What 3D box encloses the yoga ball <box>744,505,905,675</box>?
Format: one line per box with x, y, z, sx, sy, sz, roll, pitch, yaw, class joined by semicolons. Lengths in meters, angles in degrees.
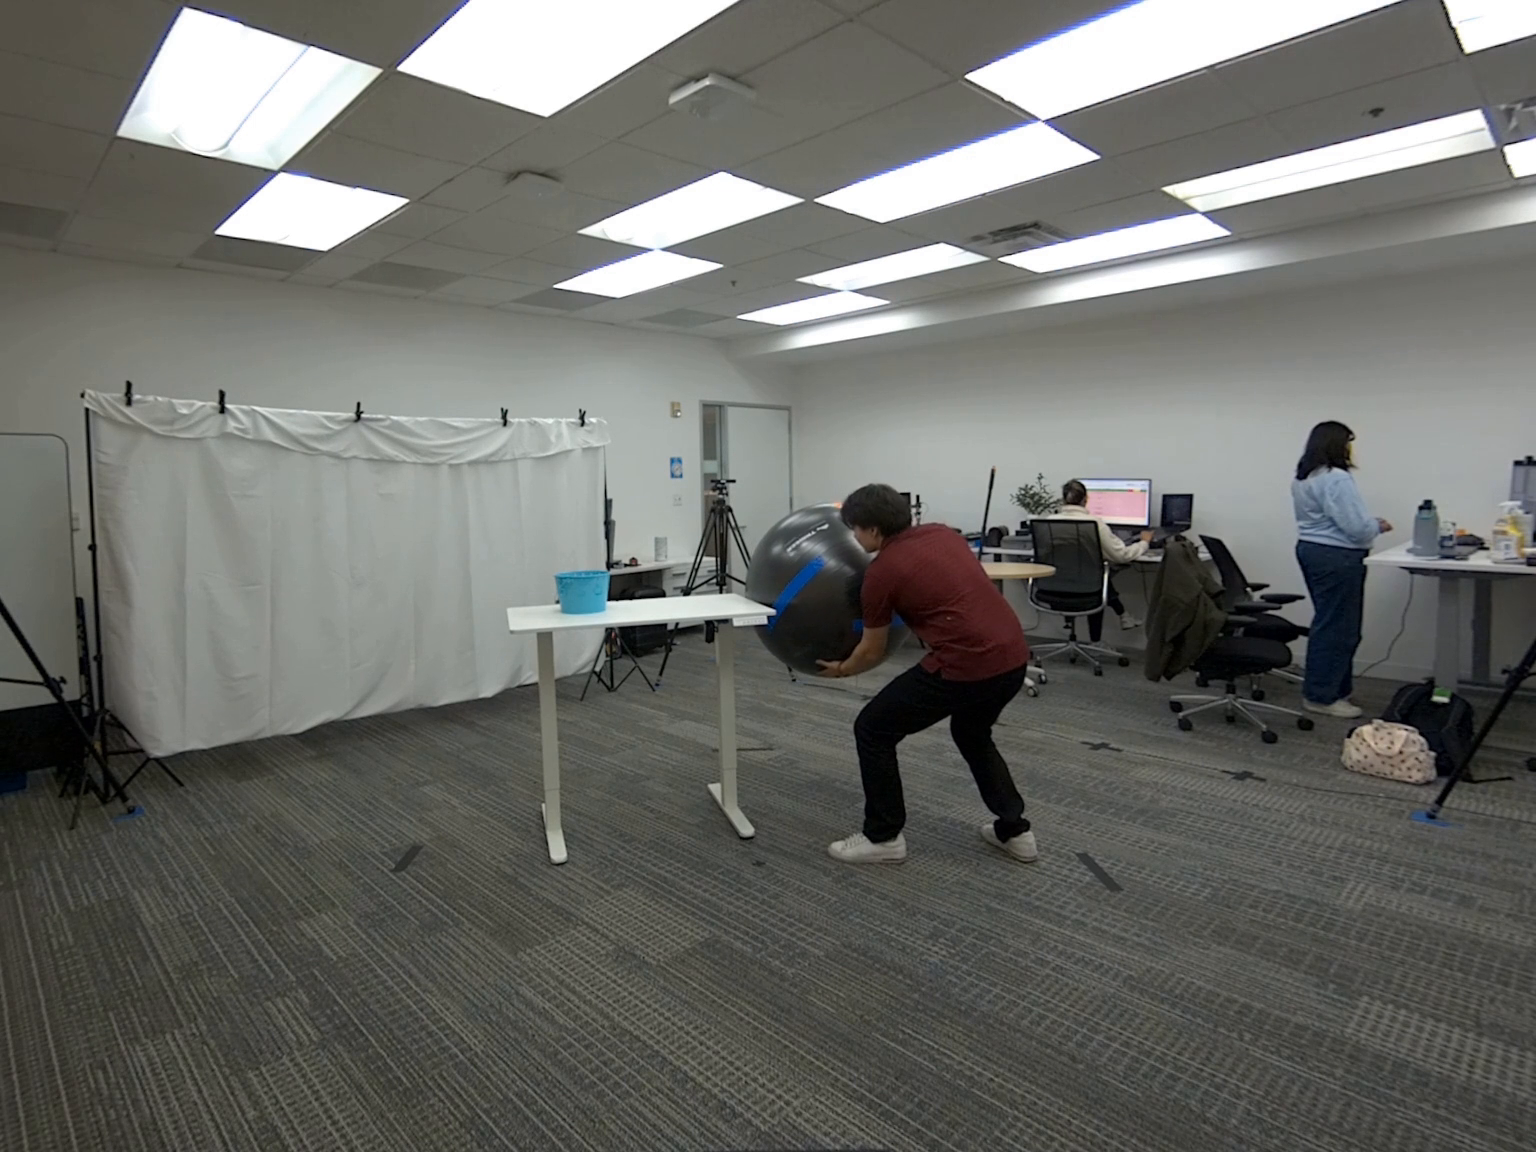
0.281;0.063;3.744;0.757;0.755;0.762;-1;5;-2;yoga ball
